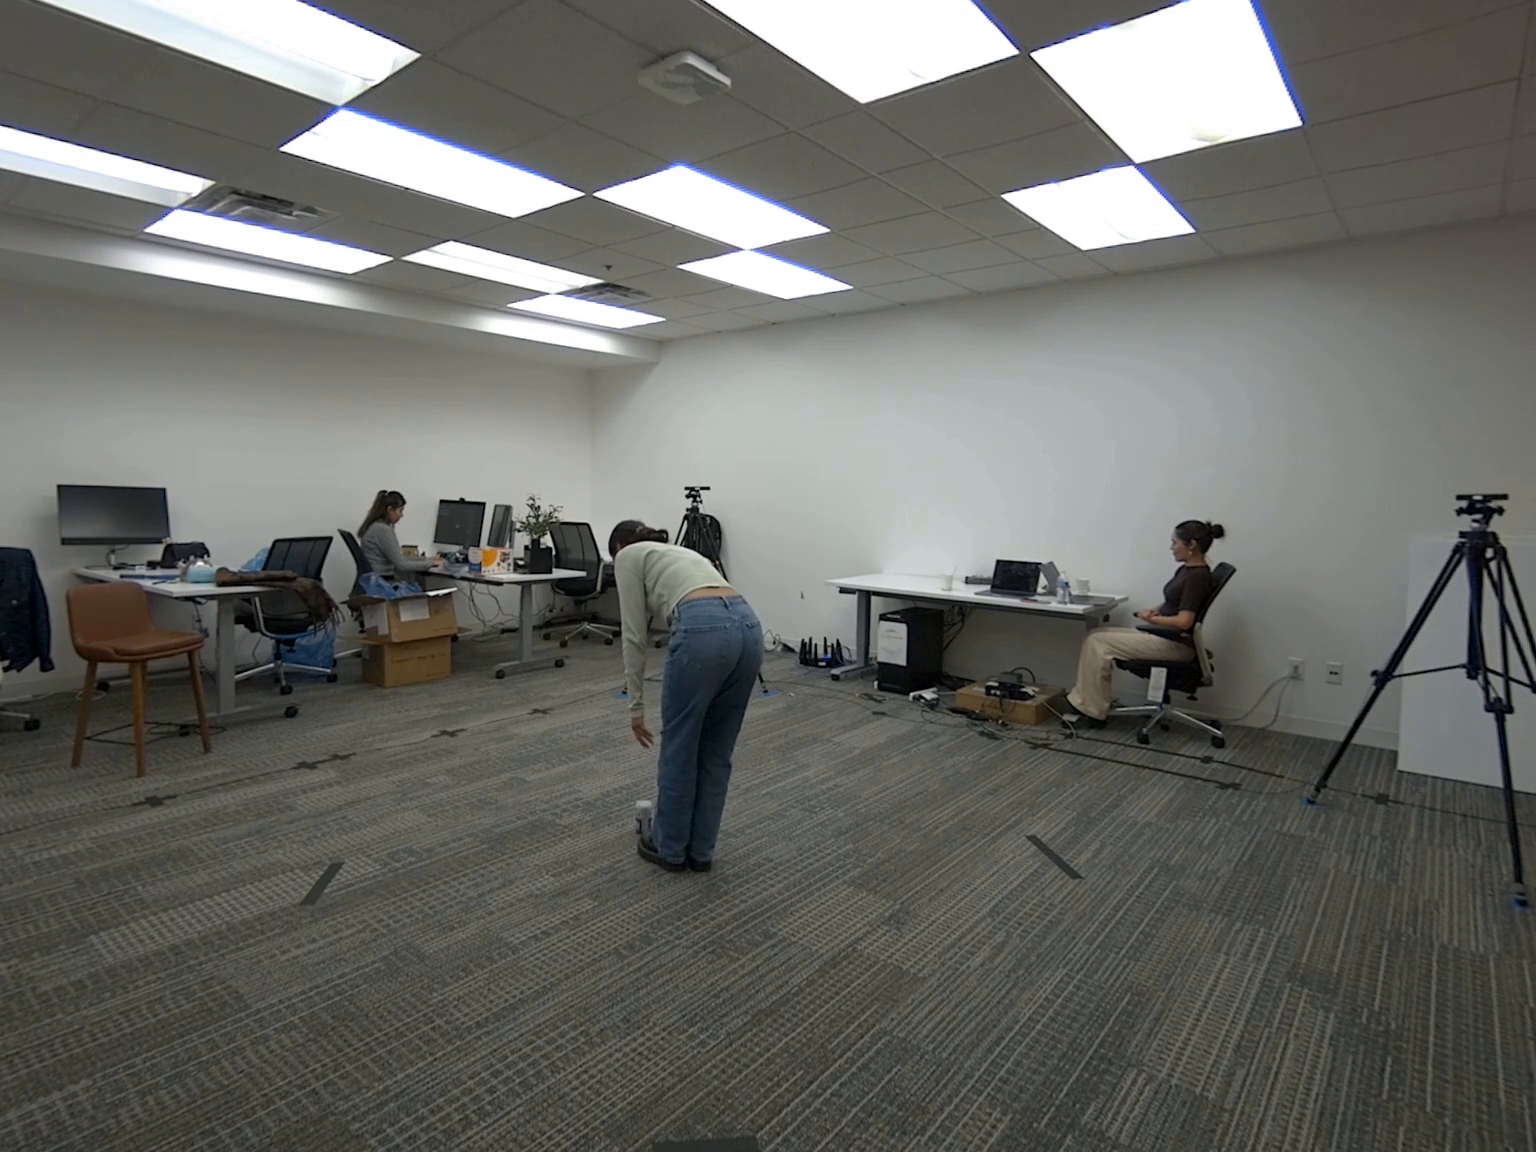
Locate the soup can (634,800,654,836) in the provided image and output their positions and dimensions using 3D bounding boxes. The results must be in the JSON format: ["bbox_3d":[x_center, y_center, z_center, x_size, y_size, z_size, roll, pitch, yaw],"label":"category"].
[{"bbox_3d":[-0.512,0.973,3.417,0.067,0.121,0.067,1,4,-2],"label":"soup can"}]
